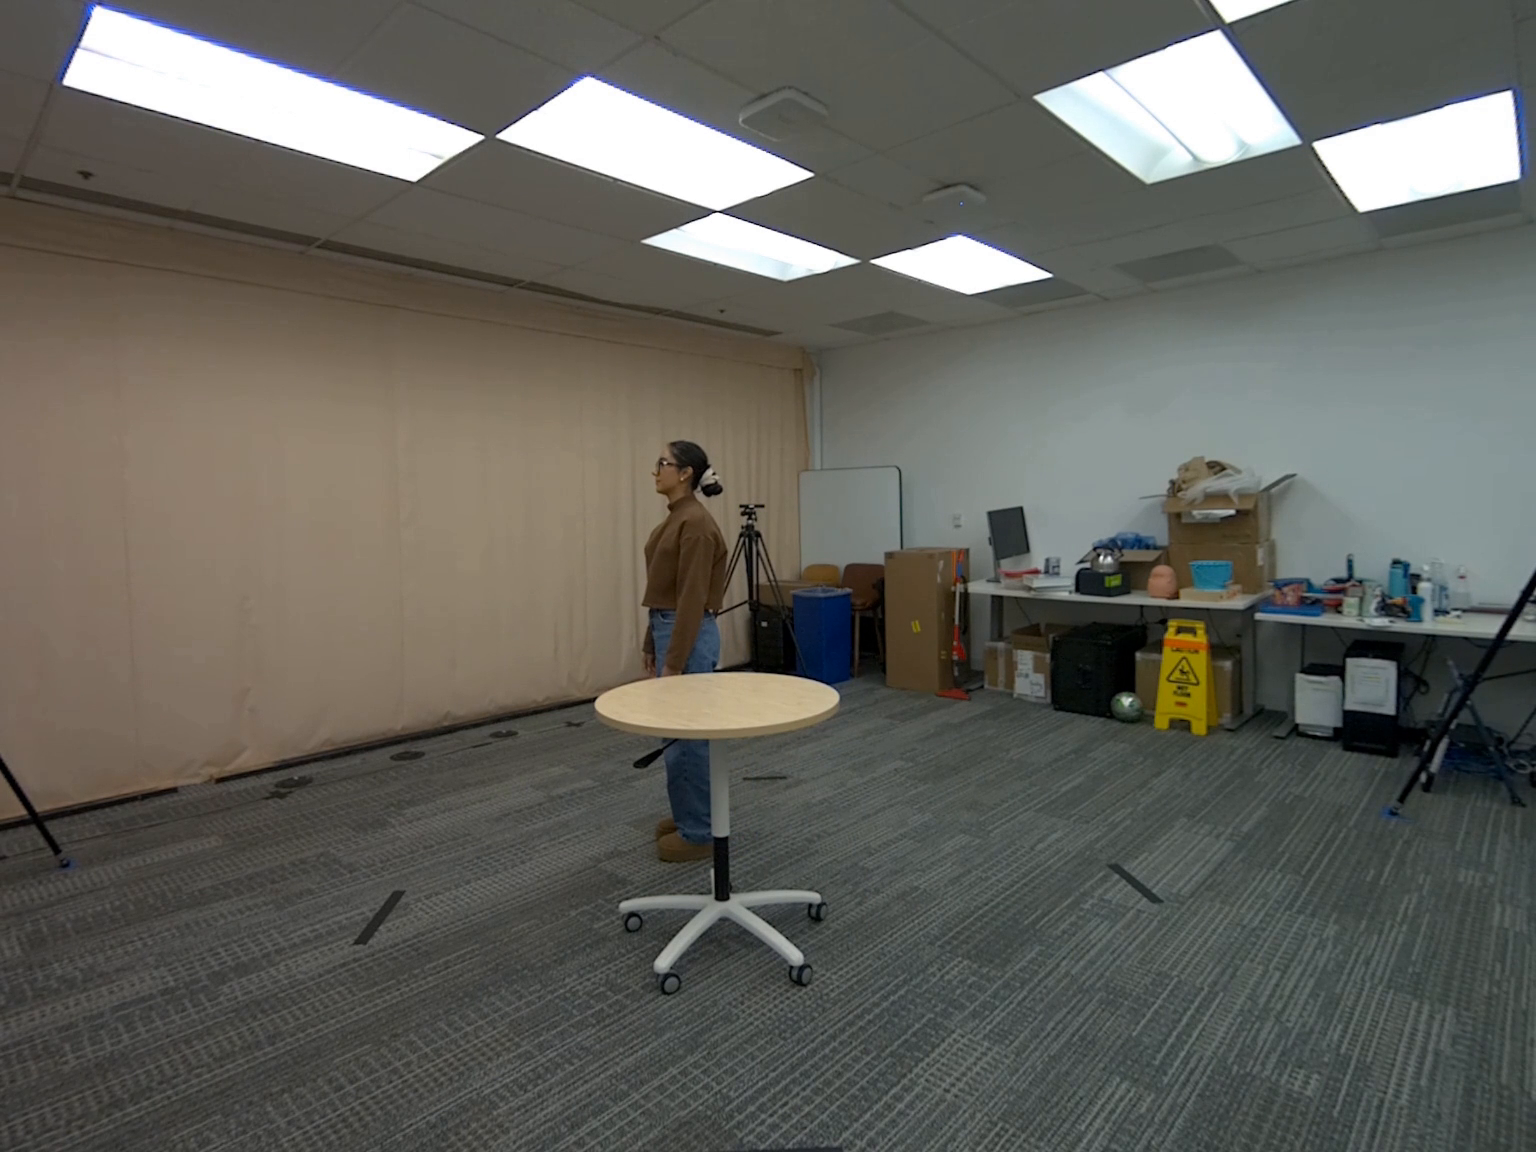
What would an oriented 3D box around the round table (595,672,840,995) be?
[{"bbox_3d":[-0.148,0.781,2.669,0.763,0.792,0.767,-2,4,-2],"label":"round table"}]
